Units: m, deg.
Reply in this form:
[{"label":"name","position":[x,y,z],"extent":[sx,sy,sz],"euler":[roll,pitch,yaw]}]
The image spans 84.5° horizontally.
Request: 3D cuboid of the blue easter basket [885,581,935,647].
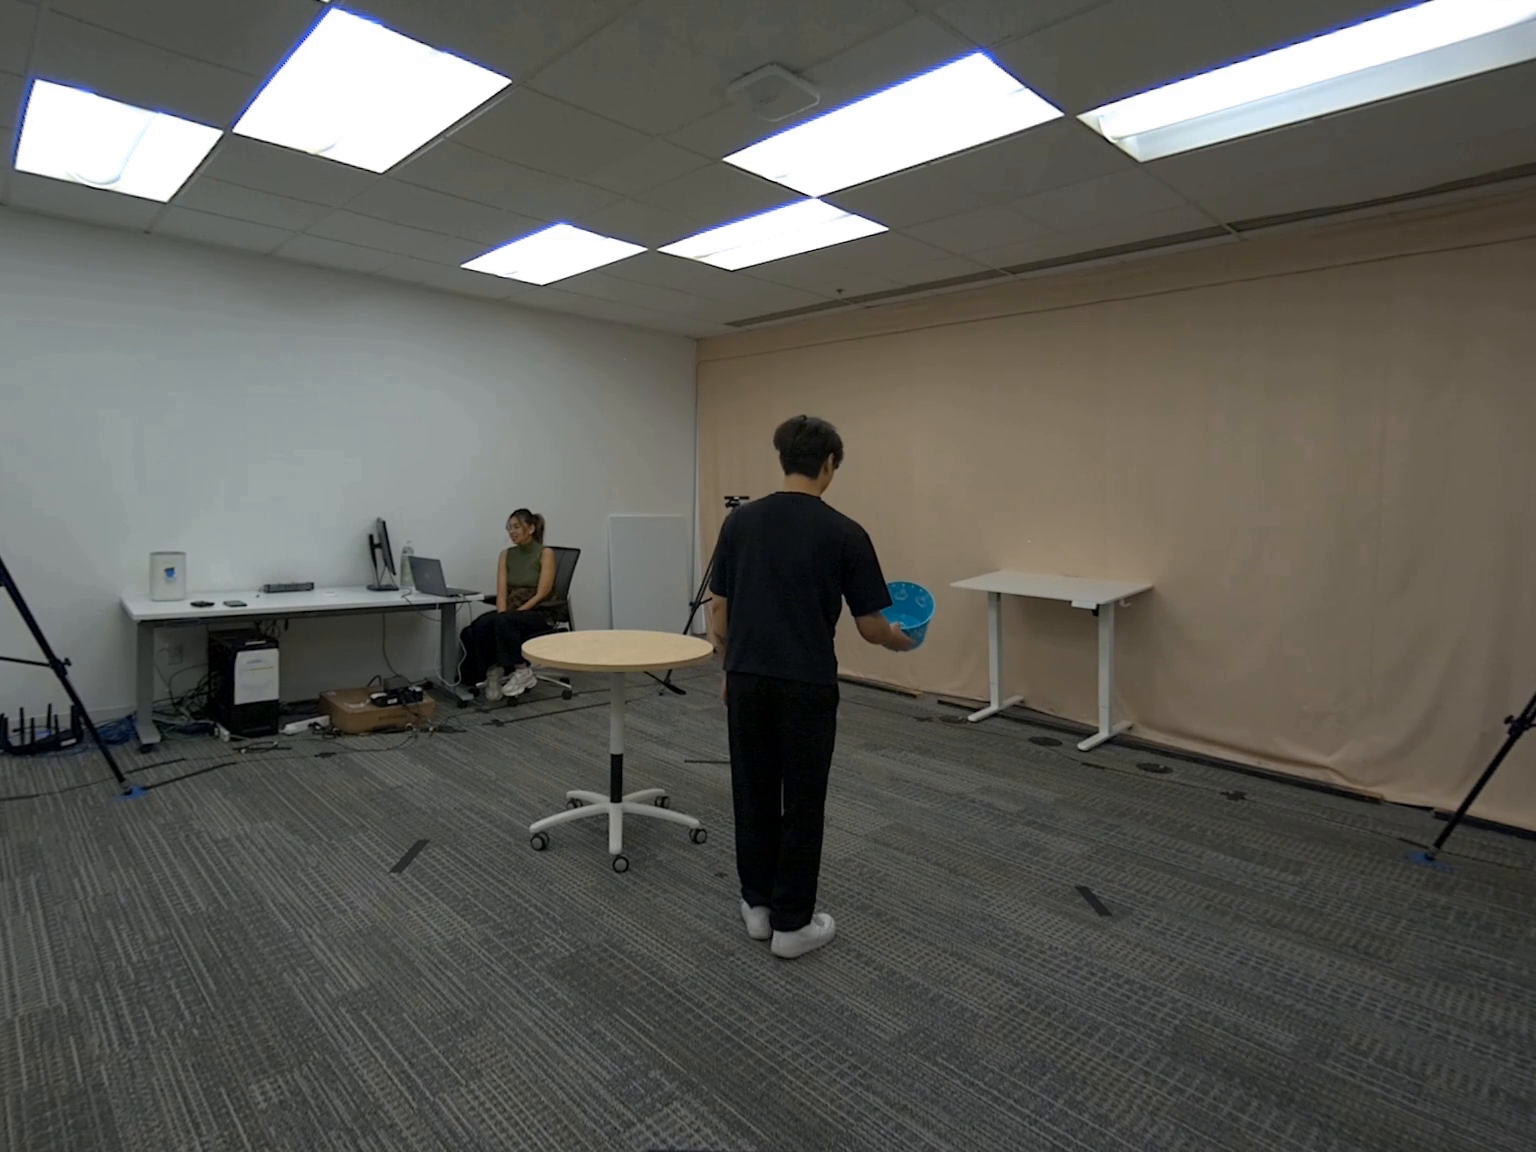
[{"label":"blue easter basket","position":[0.465,0.162,3.000],"extent":[0.244,0.152,0.249],"euler":[-5,43,3]}]
